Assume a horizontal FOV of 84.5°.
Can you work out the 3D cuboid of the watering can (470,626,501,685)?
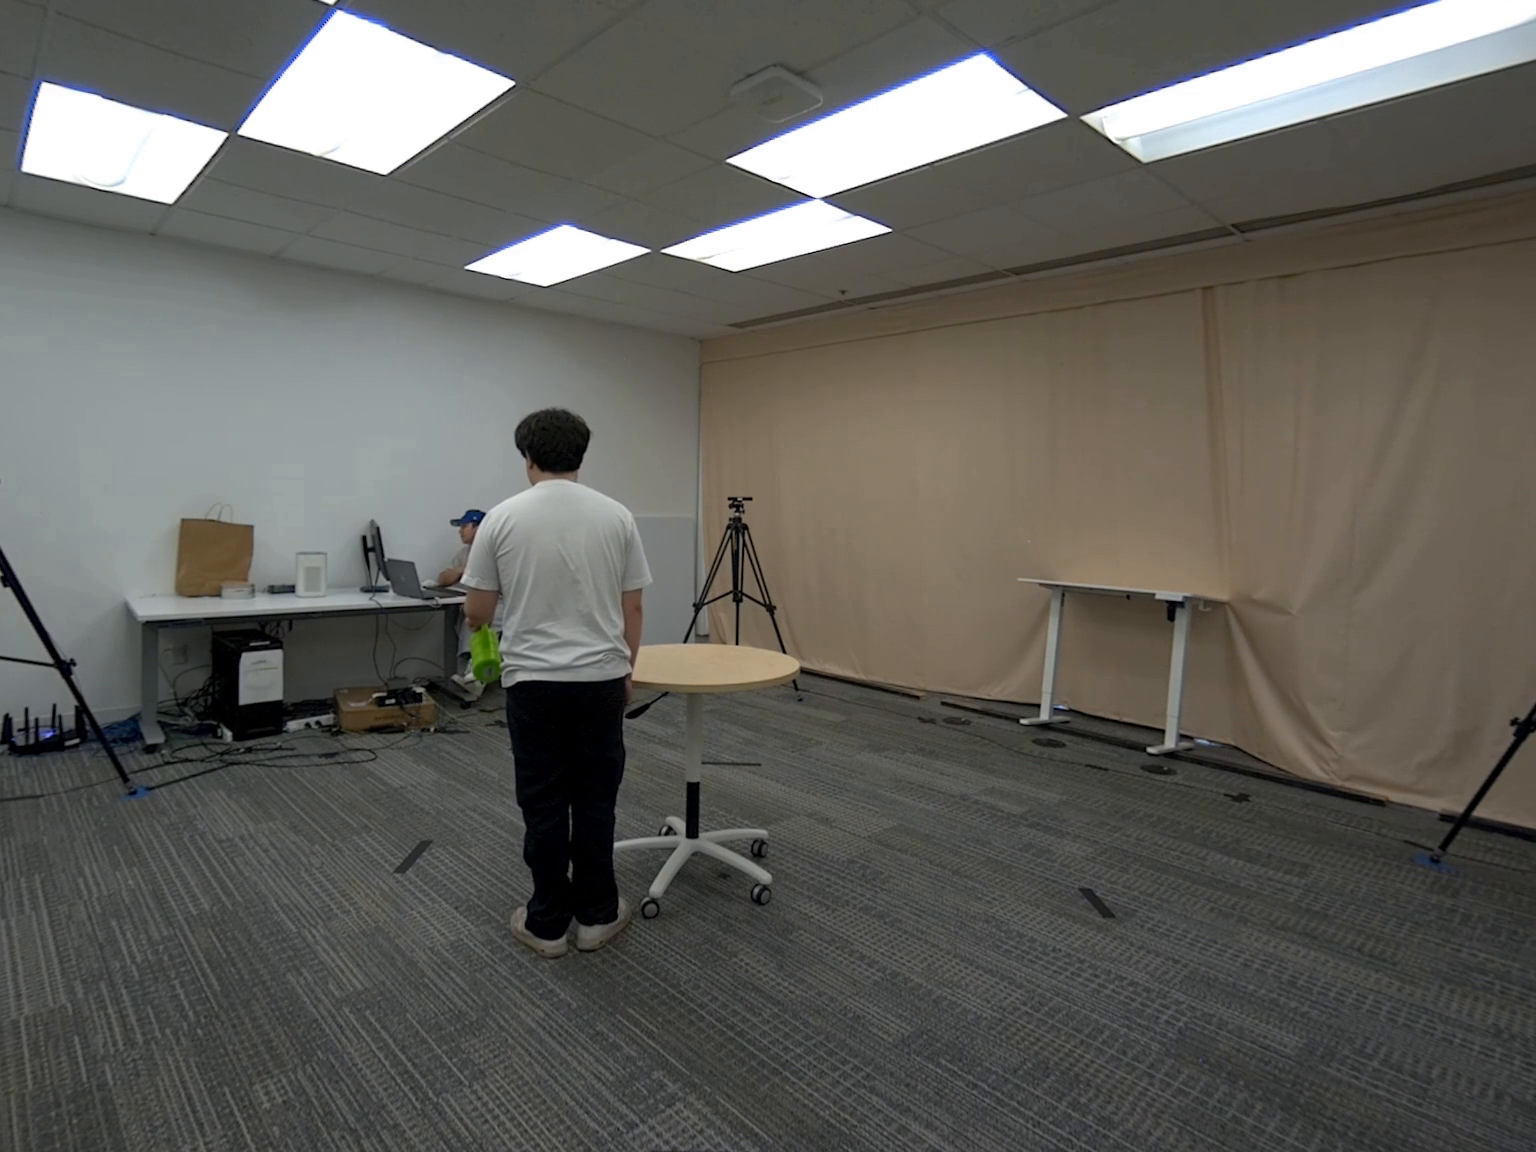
[{"bbox_3d":[-0.964,0.276,2.870,0.097,0.181,0.273,-12,-34,-13],"label":"watering can"}]
